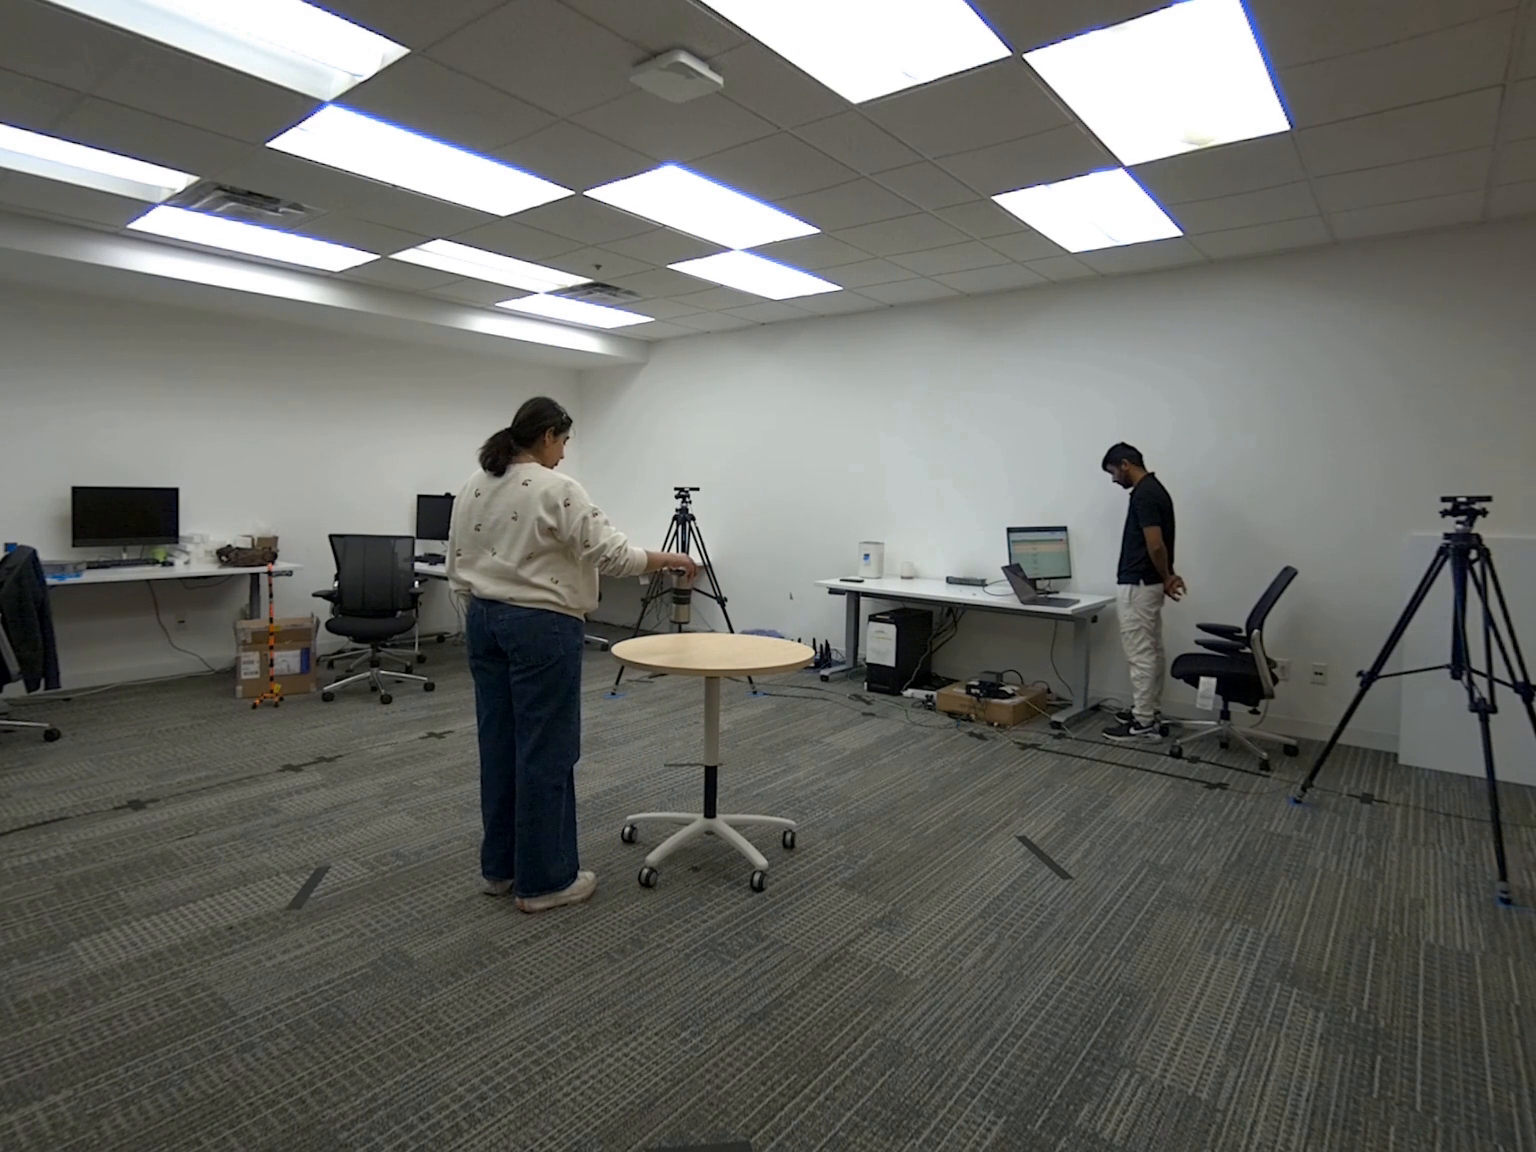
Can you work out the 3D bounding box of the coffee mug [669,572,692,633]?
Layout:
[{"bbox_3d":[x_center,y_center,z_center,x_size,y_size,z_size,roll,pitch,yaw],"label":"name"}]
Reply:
[{"bbox_3d":[-0.311,0.071,3.088,0.091,0.202,0.119,5,7,32],"label":"coffee mug"}]
